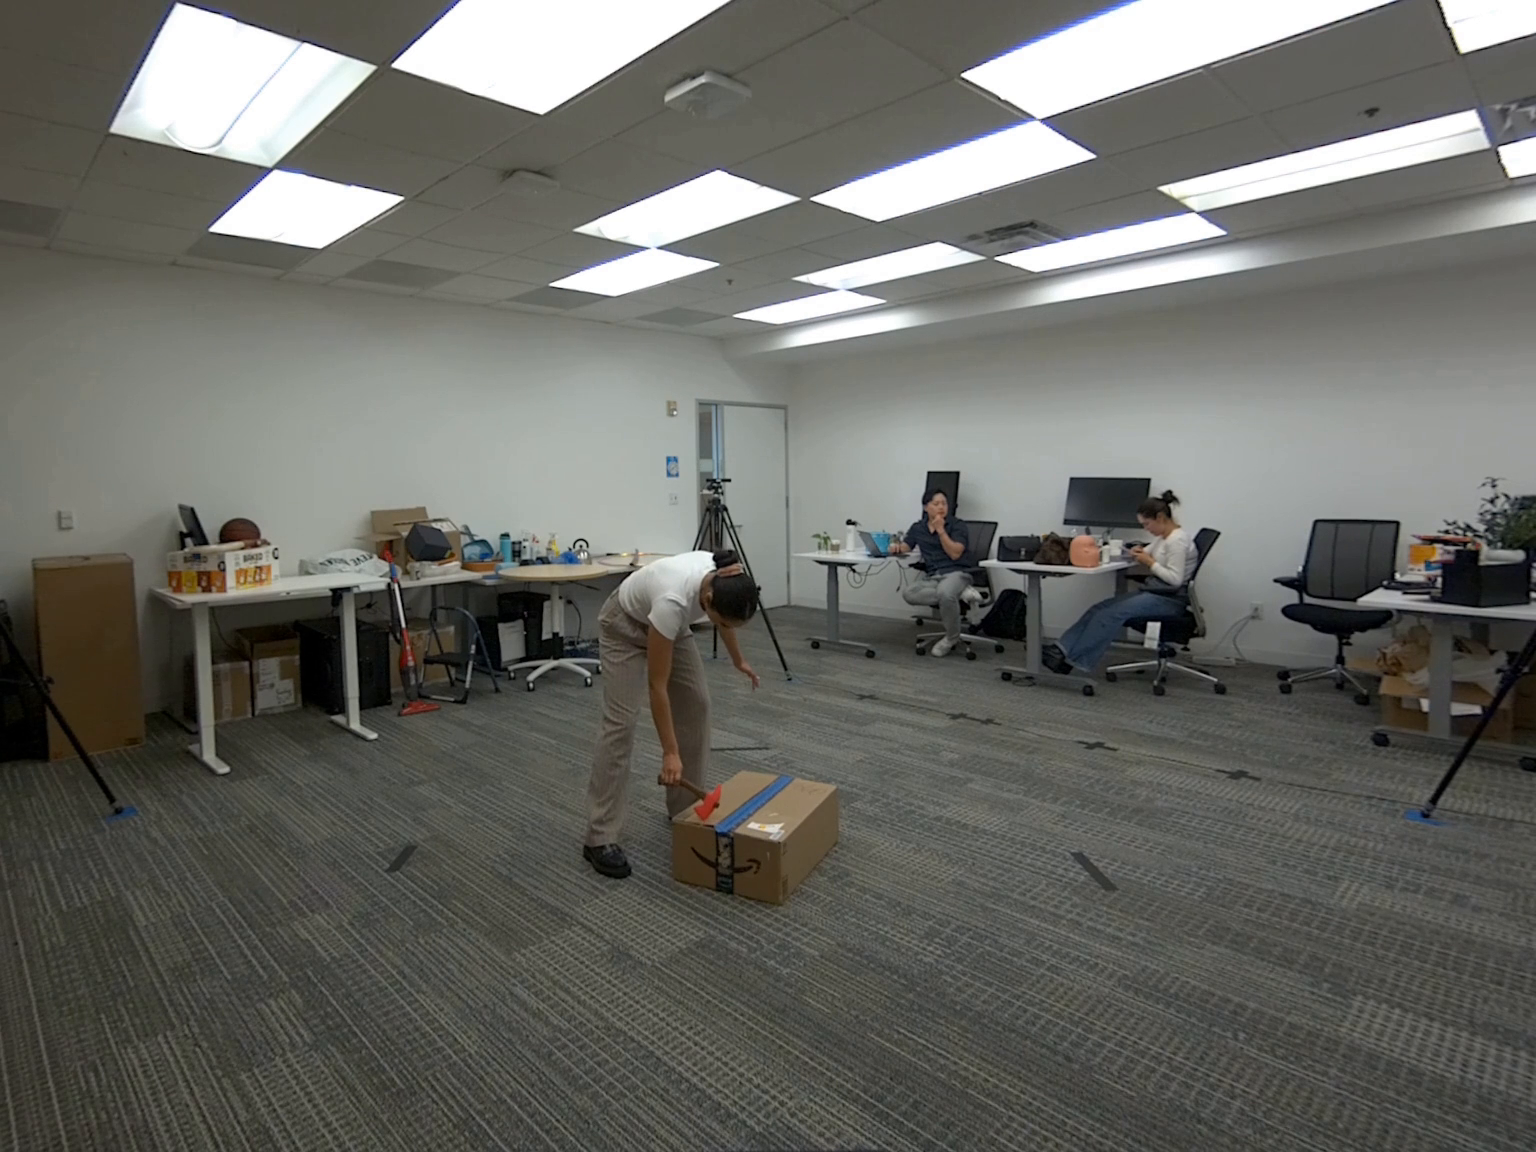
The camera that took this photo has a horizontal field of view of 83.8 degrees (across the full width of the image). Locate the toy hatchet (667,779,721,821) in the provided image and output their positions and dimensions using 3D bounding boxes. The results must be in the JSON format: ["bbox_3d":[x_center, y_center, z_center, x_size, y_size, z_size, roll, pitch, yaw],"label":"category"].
[{"bbox_3d":[-0.281,0.785,3.014,0.277,0.133,0.028,-2,-19,31],"label":"toy hatchet"}]
